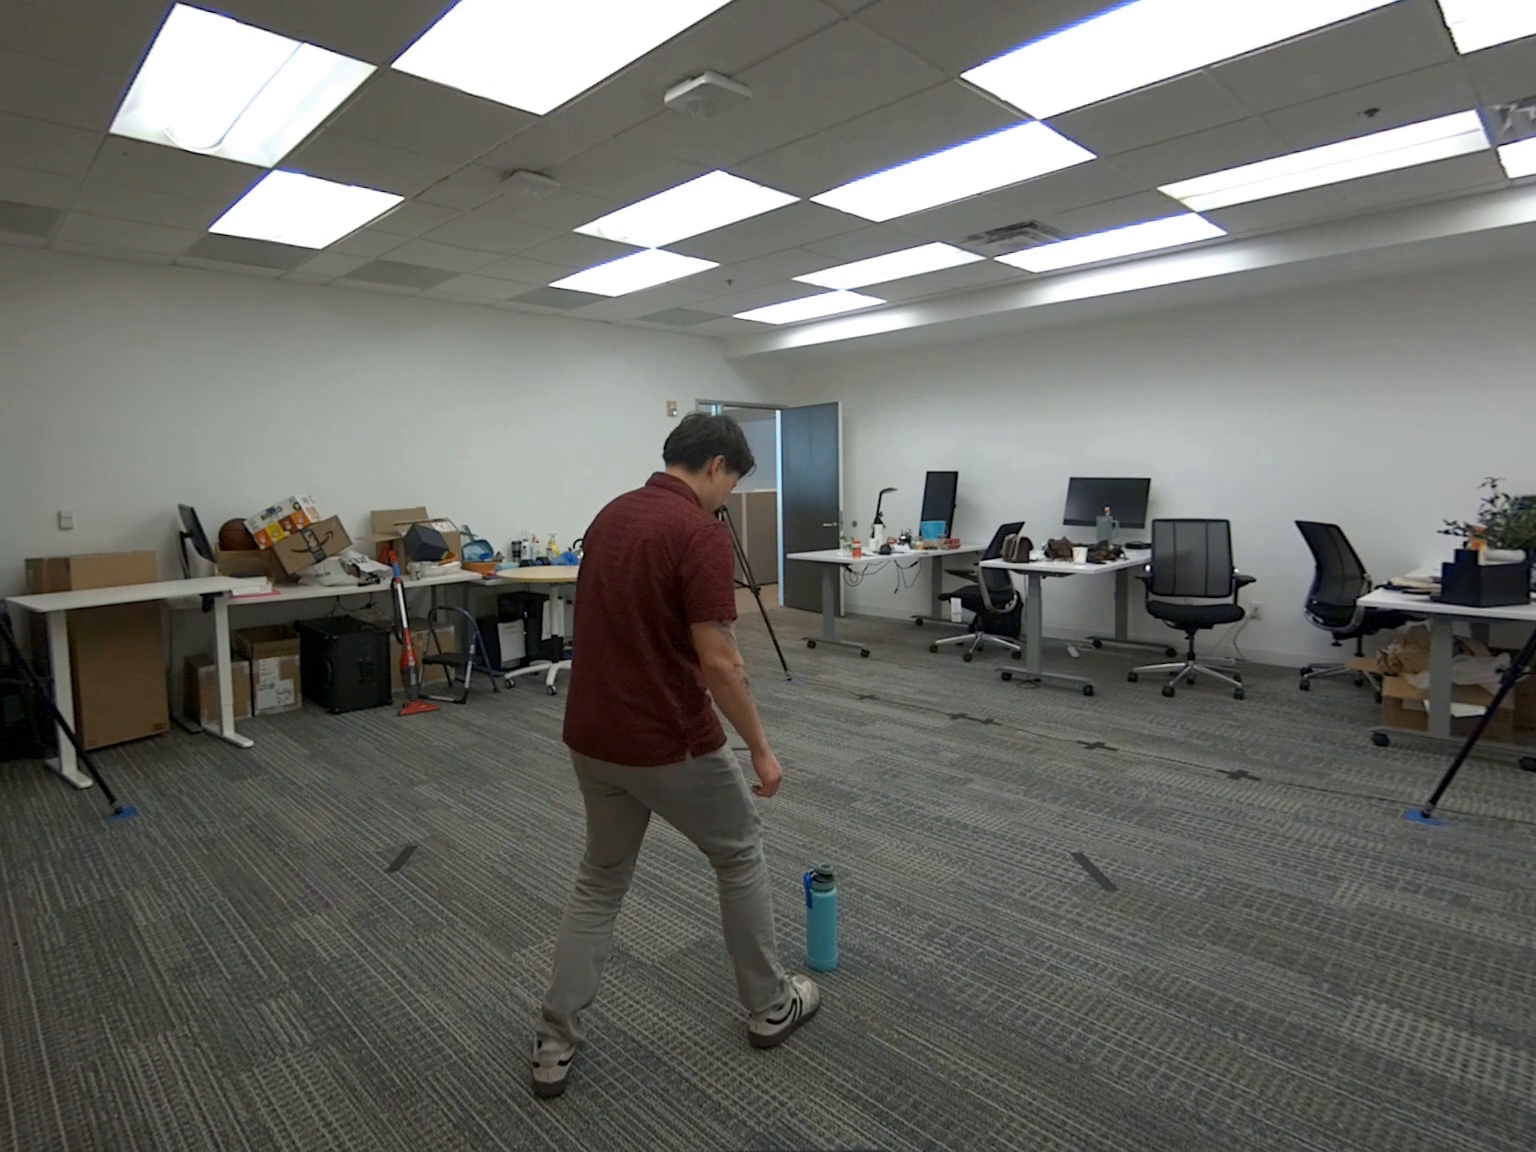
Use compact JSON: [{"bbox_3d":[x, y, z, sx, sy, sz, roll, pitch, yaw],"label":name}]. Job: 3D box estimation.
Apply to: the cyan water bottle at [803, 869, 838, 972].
[{"bbox_3d":[0.161,0.980,2.446,0.092,0.282,0.093,-2,4,-2],"label":"cyan water bottle"}]
